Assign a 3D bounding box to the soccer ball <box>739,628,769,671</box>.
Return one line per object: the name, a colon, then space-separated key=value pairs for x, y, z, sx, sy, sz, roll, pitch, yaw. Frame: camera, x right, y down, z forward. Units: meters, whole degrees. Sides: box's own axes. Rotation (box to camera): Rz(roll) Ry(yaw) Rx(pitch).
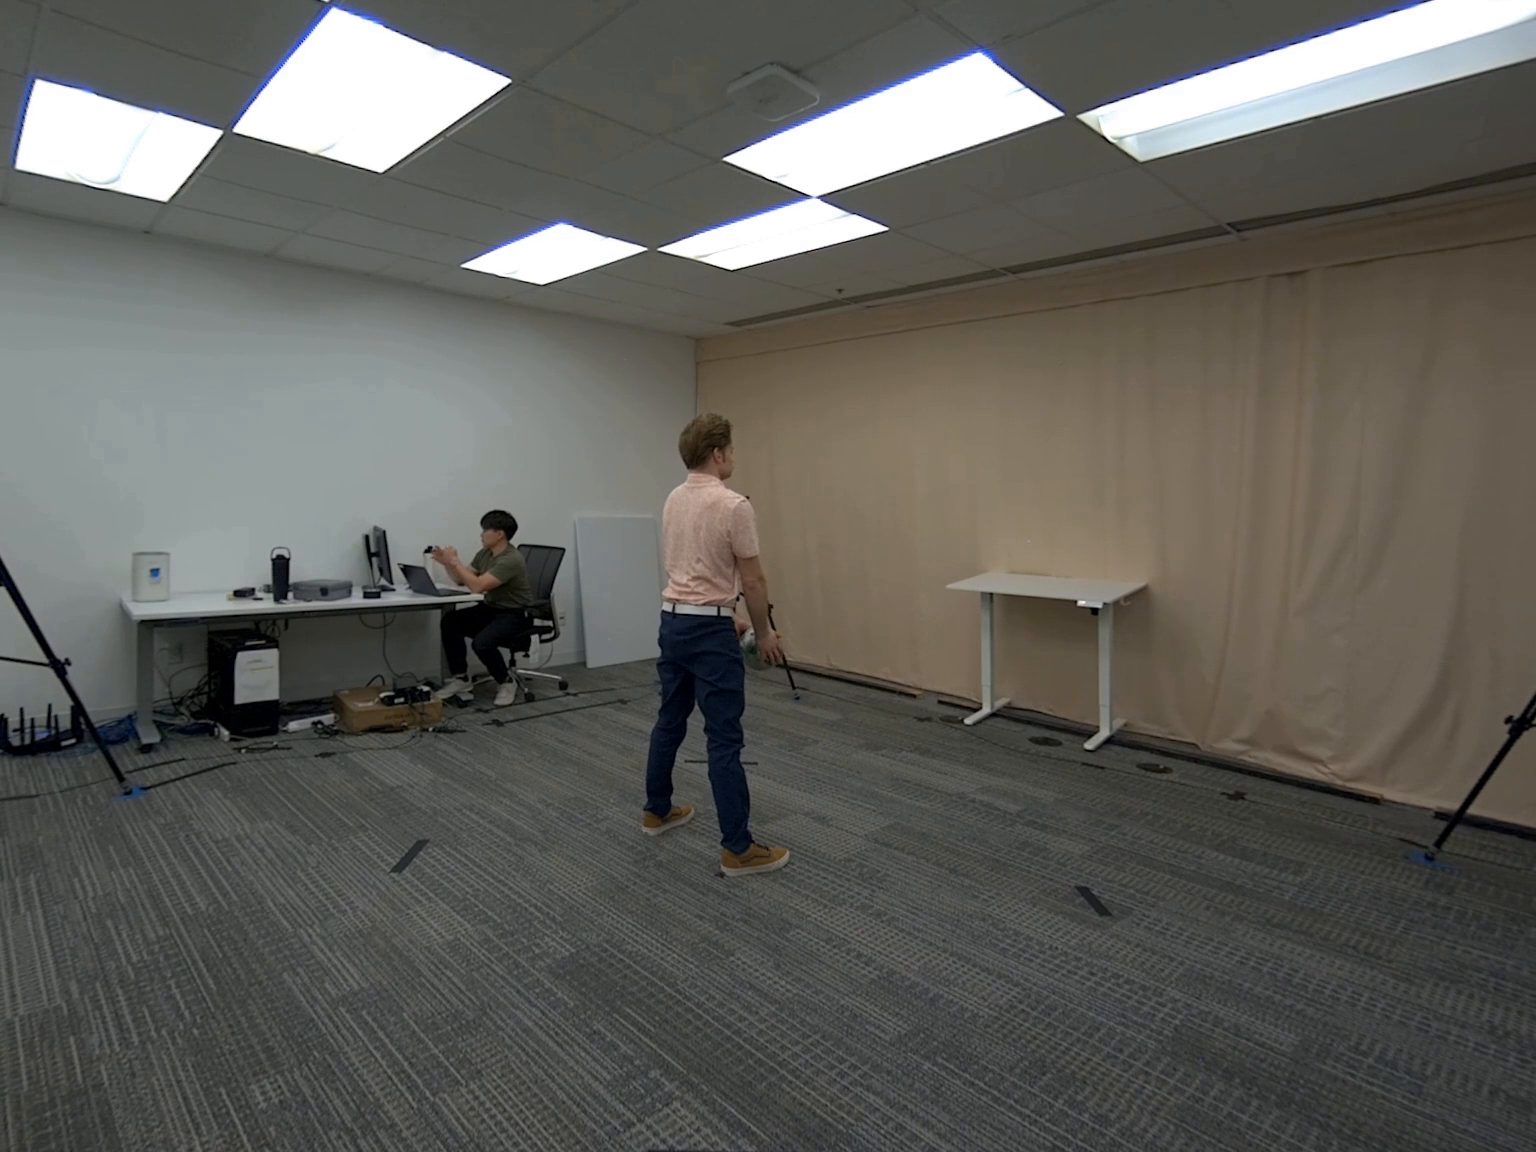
soccer ball: x=-0.034 y=0.297 z=3.513 sx=0.187 sy=0.187 sz=0.188 roll=1 pitch=4 yaw=-1
